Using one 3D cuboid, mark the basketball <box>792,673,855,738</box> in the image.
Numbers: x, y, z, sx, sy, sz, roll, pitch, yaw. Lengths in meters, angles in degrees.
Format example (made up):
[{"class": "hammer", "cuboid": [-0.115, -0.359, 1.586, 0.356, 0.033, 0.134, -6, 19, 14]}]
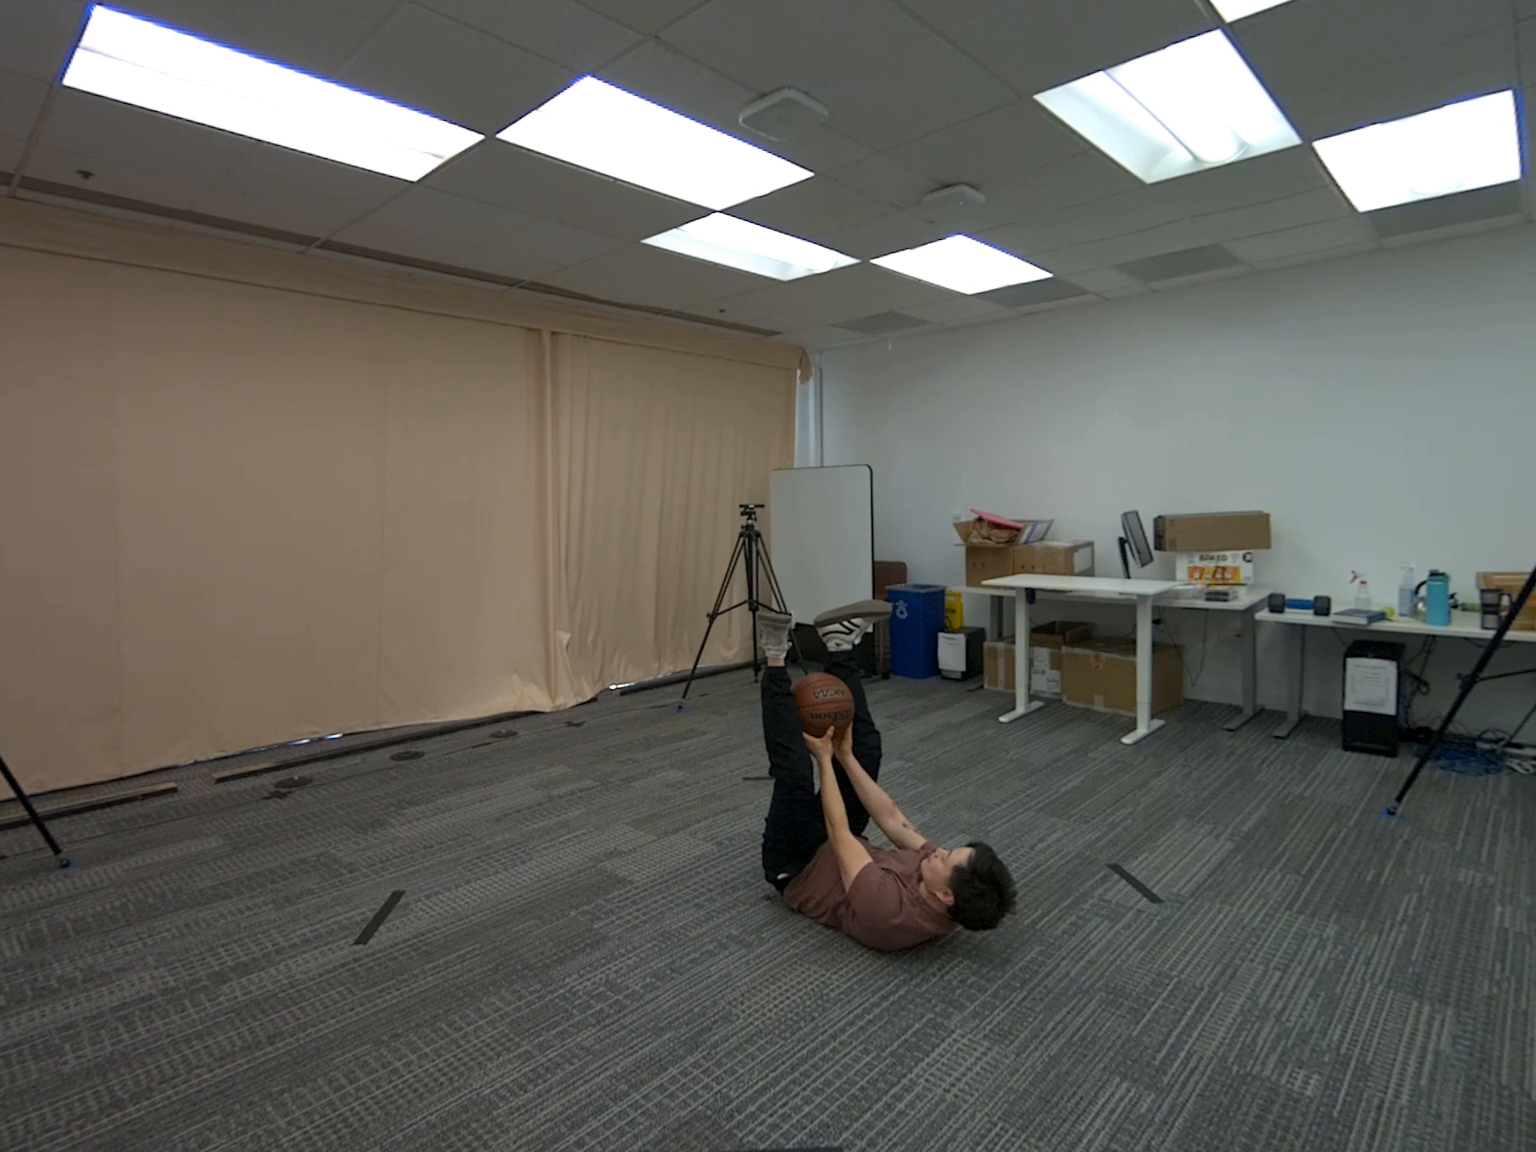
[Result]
[{"class": "basketball", "cuboid": [0.181, 0.455, 2.914, 0.236, 0.235, 0.236, -1, 3, -2]}]
